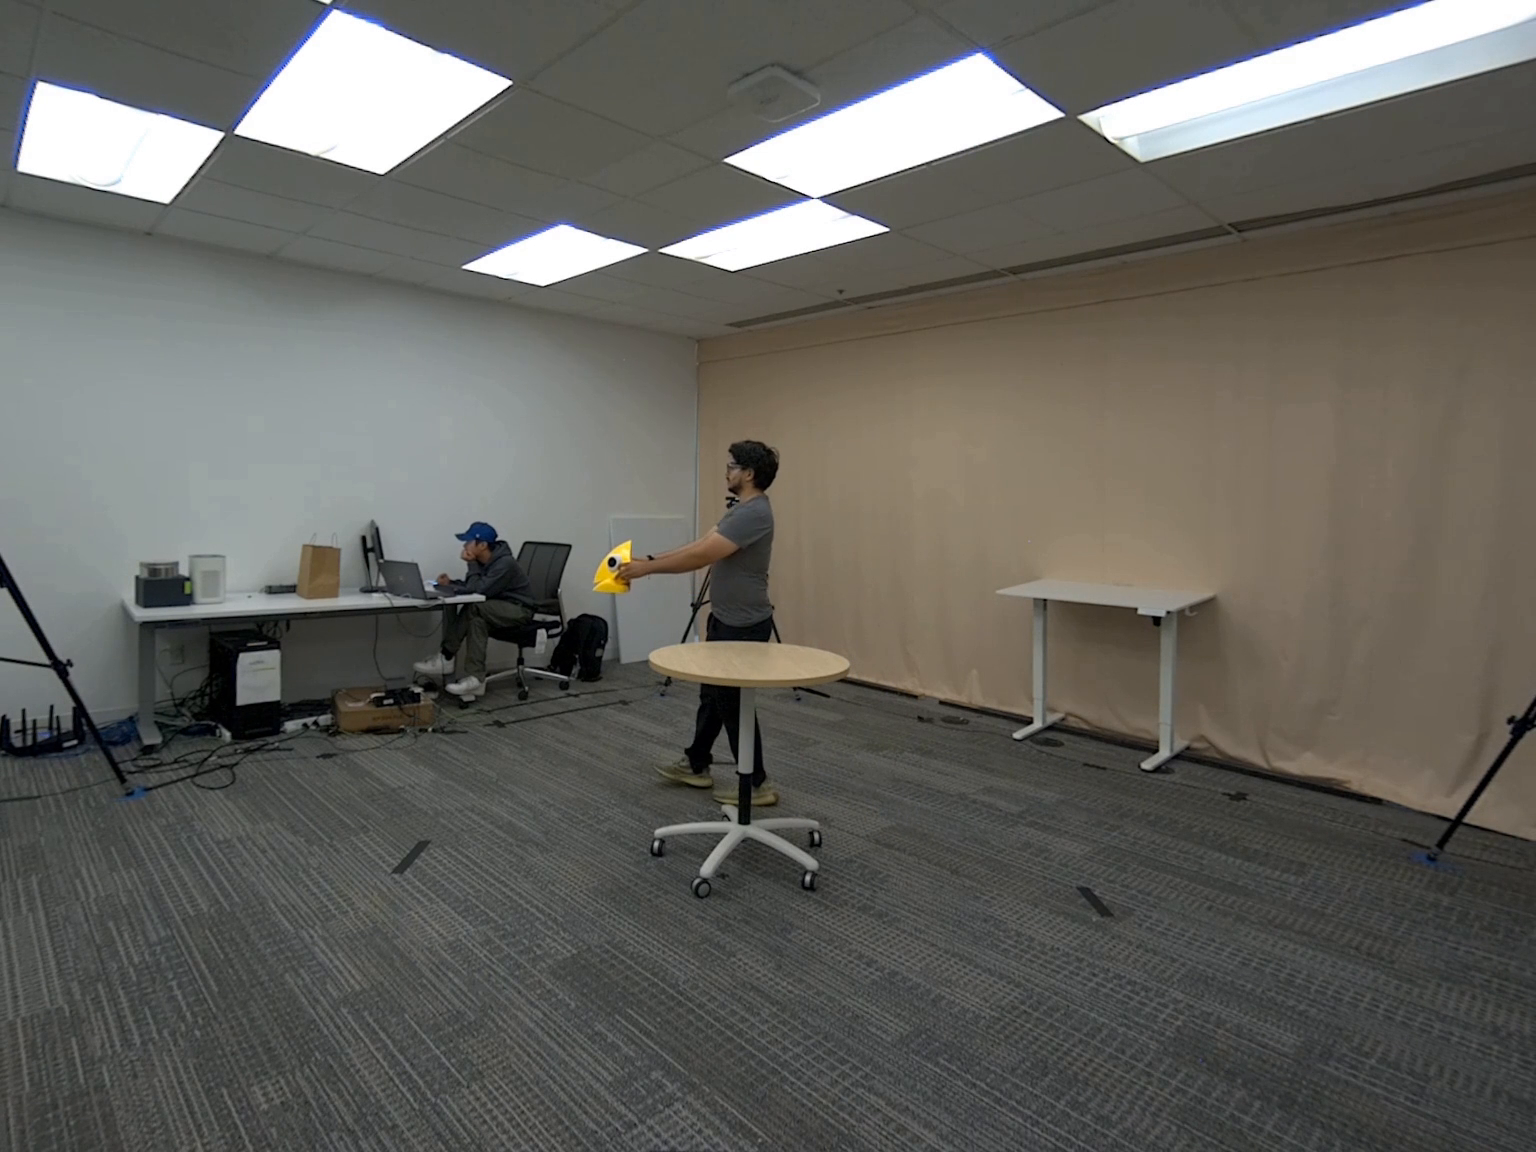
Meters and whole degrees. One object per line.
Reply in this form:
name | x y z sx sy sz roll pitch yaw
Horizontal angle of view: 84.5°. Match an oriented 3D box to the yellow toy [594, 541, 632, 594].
yellow toy | -0.702 -0.050 3.817 0.192 0.230 0.206 4 5 -6
